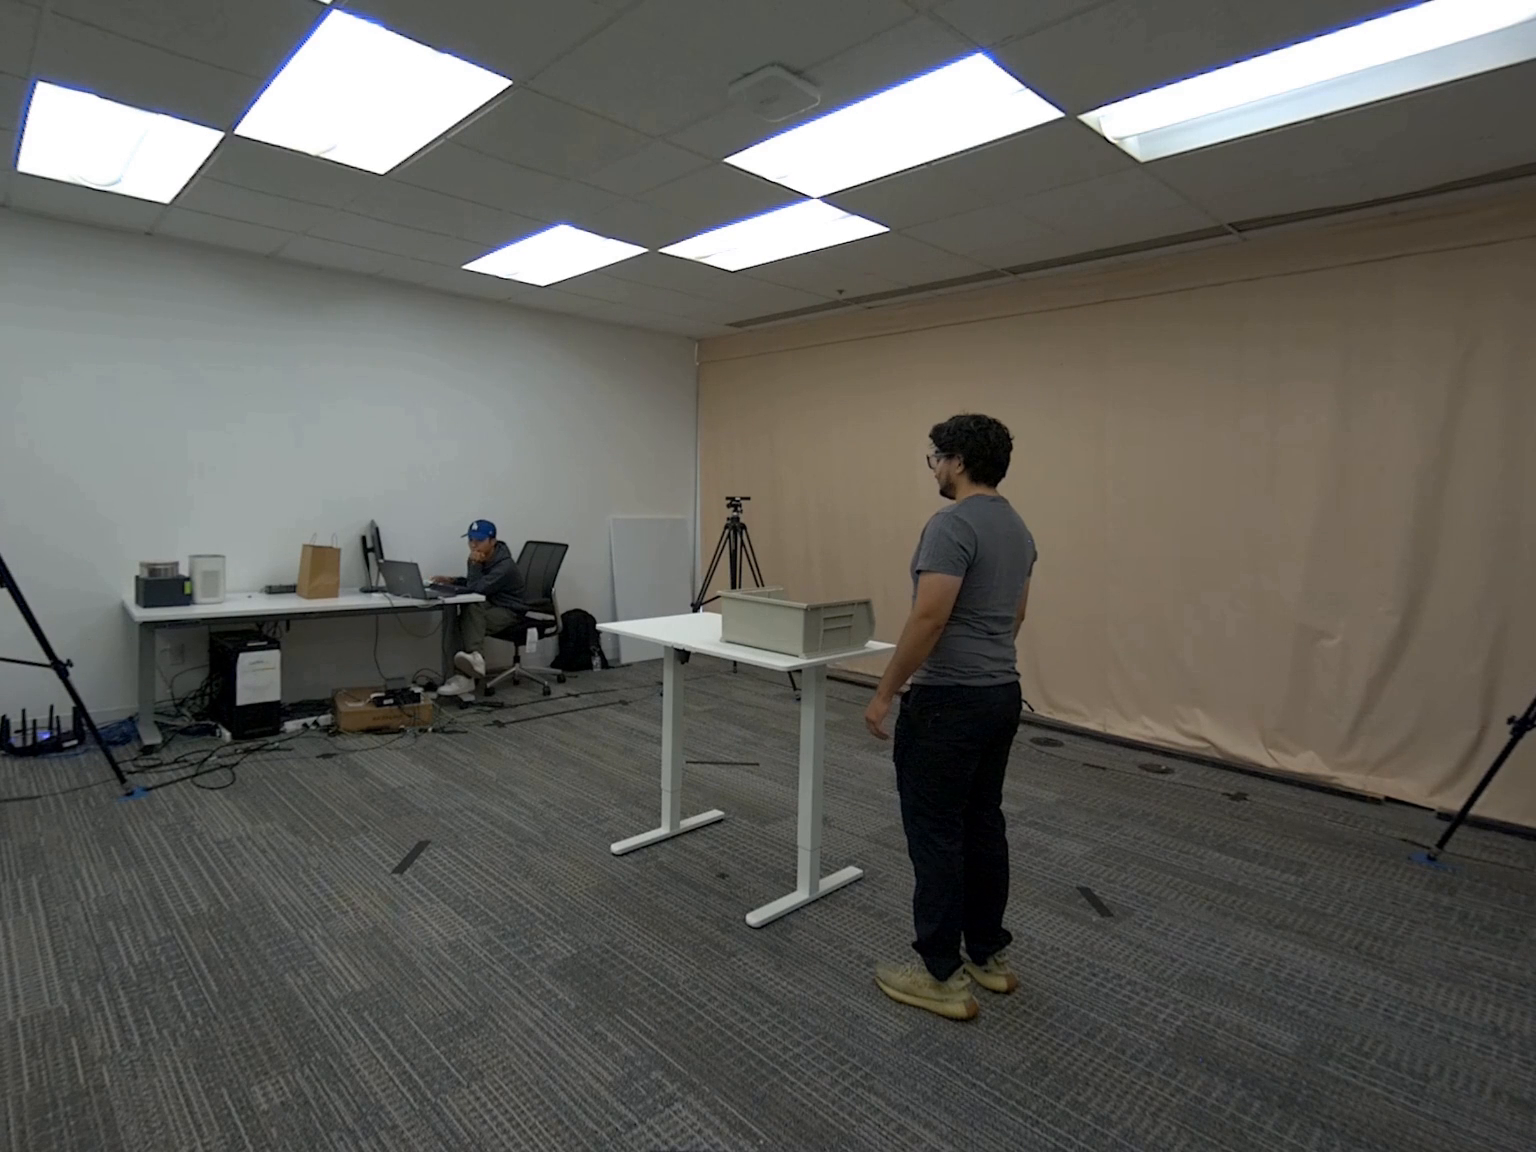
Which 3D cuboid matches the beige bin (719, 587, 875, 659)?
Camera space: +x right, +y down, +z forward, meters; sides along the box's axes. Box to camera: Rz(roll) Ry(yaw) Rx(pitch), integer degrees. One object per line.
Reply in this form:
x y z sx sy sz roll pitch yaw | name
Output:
0.092 0.155 2.963 0.369 0.188 0.433 -5 9 -44 | beige bin
